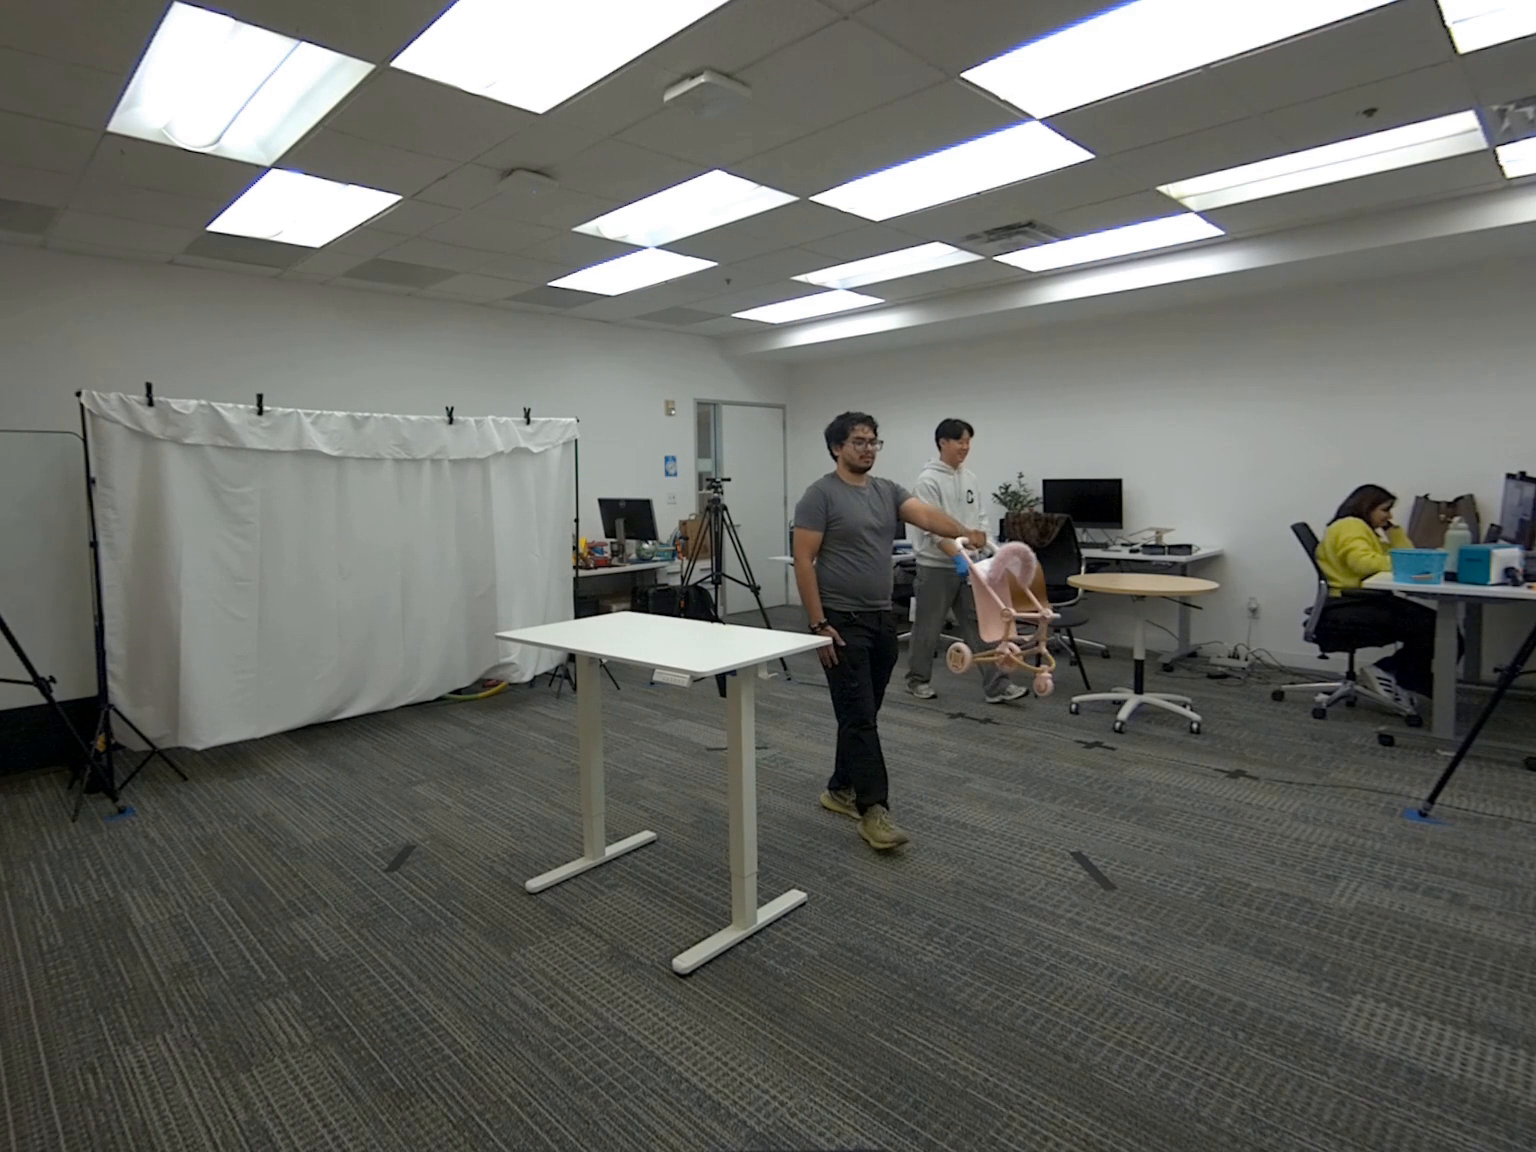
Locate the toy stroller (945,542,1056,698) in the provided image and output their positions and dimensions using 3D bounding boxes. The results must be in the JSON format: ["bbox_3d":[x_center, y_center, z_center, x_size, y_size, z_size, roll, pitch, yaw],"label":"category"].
[{"bbox_3d":[0.810,0.124,2.878,0.274,0.538,0.348,4,-7,-29],"label":"toy stroller"}]
